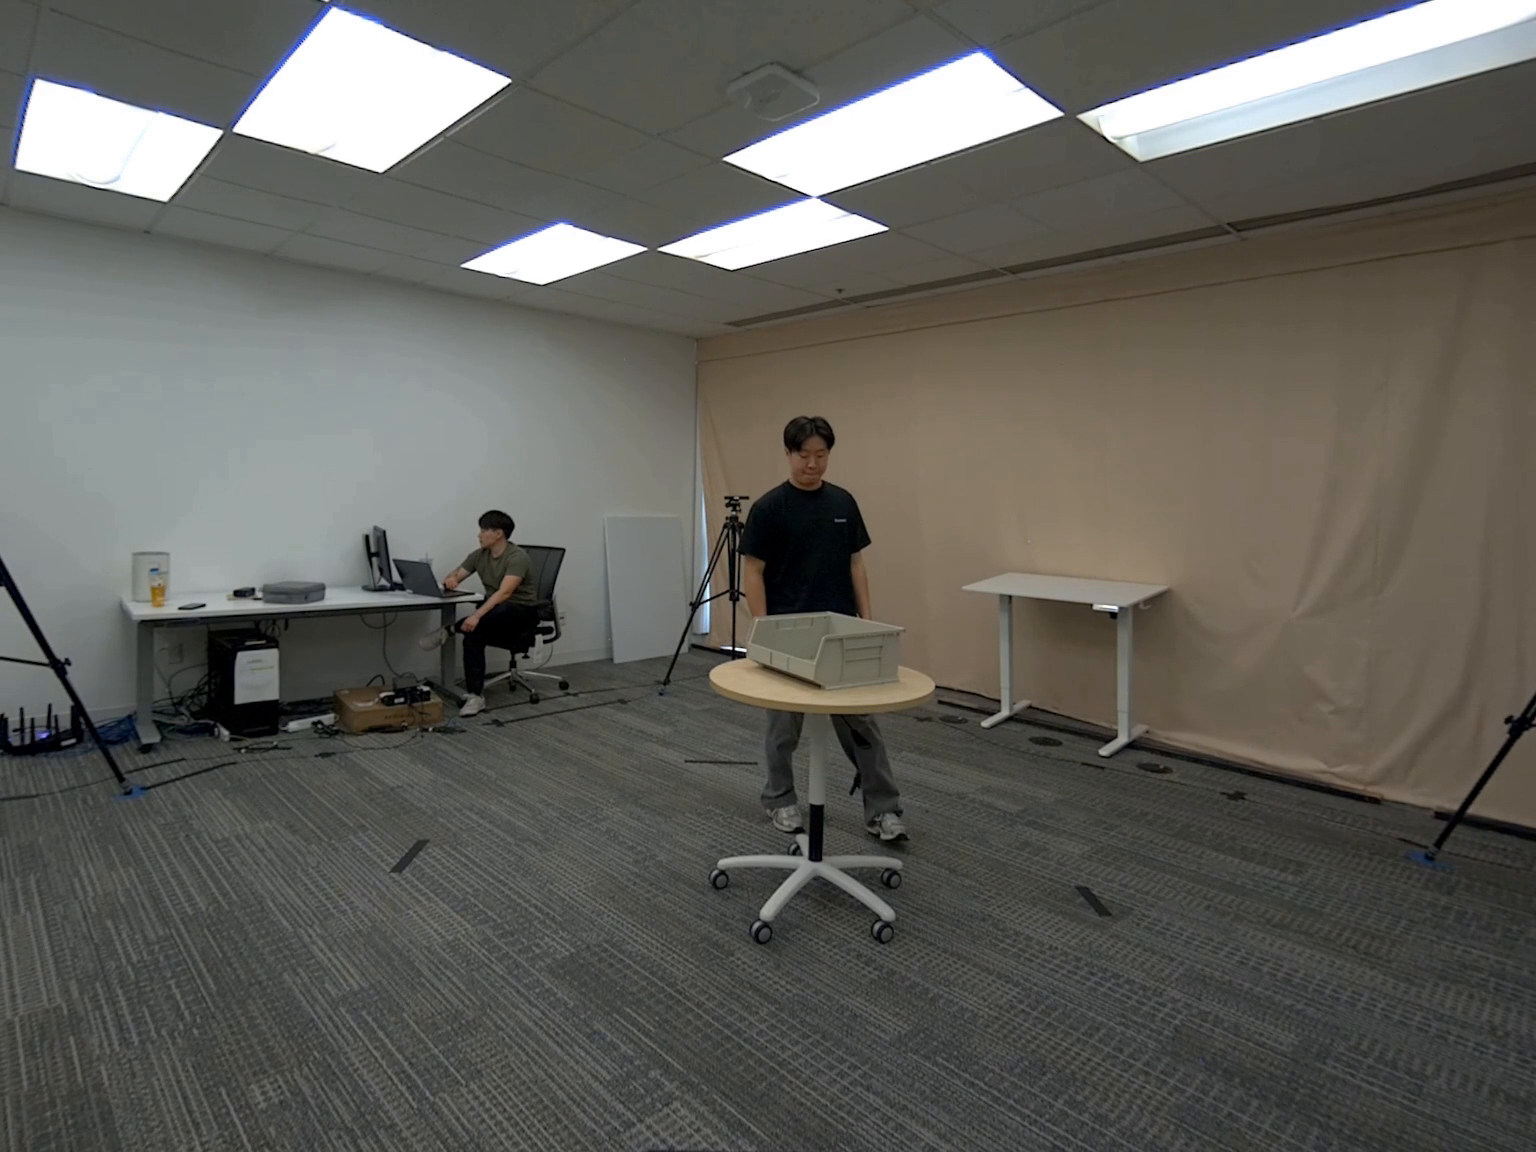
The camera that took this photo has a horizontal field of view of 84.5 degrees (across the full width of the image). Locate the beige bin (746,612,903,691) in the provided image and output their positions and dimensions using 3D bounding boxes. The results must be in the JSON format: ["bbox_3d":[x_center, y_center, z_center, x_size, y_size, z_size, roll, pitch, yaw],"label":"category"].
[{"bbox_3d":[0.184,0.257,2.930,0.369,0.188,0.432,0,5,-33],"label":"beige bin"}]
